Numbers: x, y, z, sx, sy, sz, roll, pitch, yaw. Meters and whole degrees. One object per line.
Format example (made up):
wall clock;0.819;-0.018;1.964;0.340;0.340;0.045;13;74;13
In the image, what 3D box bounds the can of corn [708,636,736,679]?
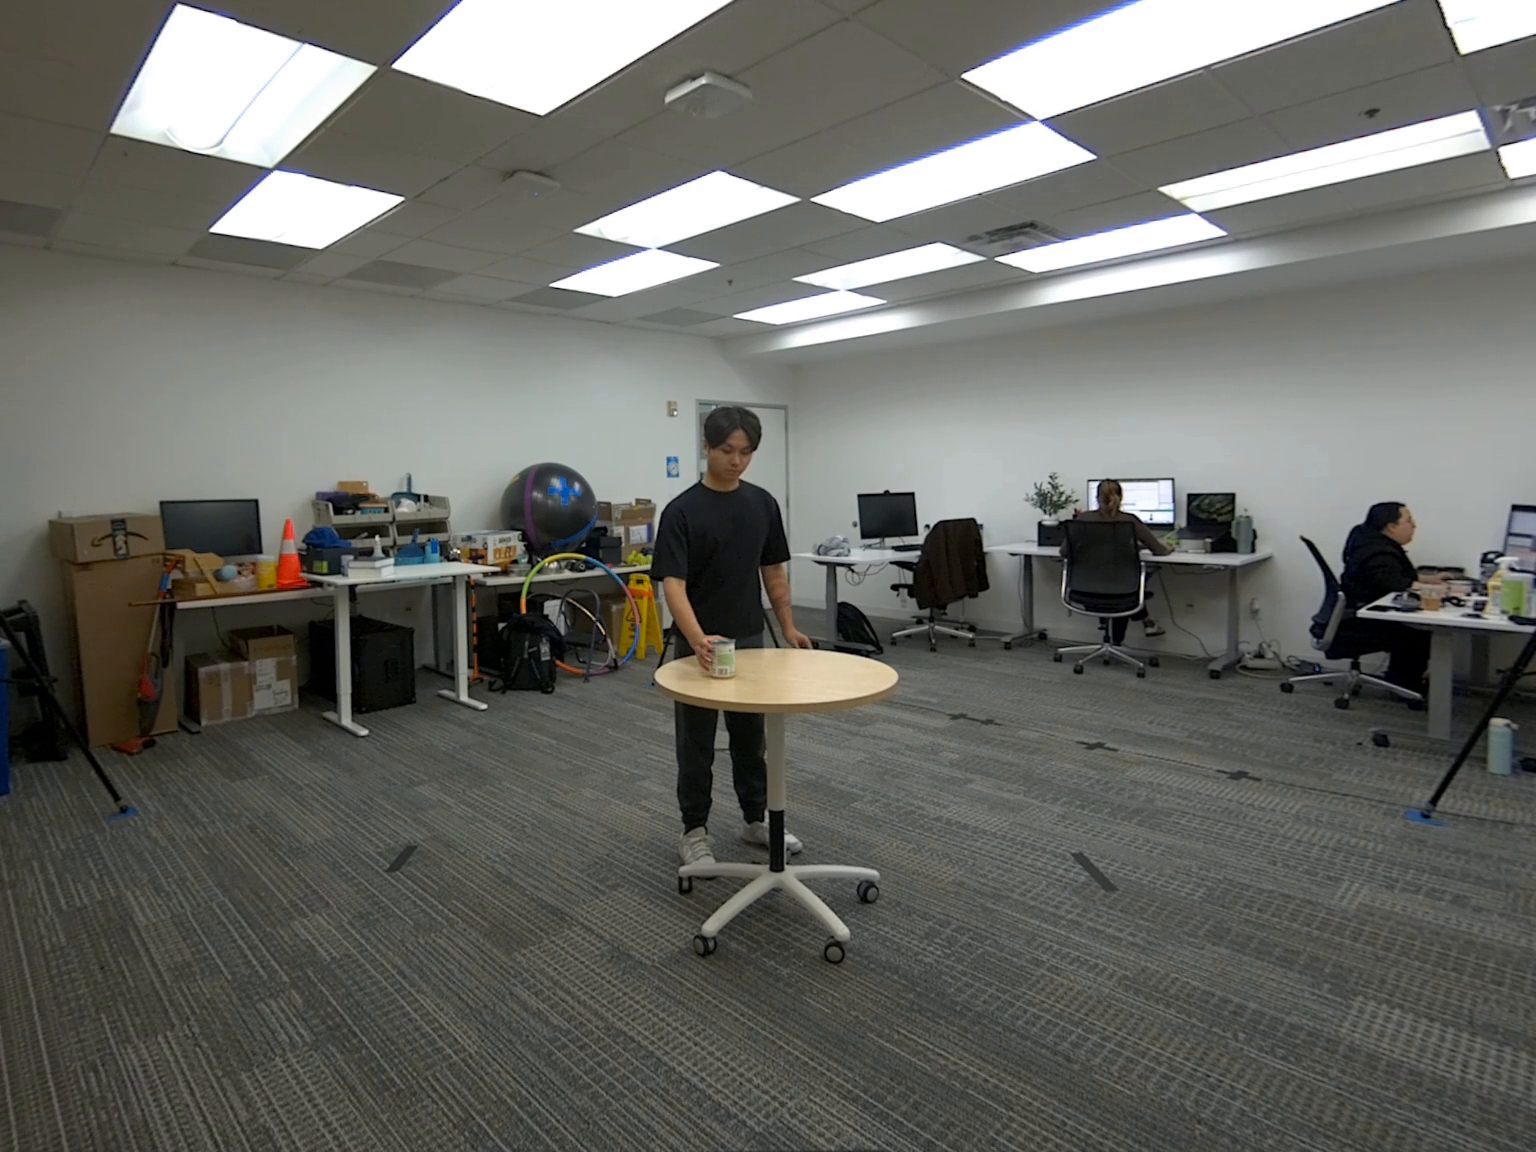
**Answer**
can of corn;-0.142;0.261;2.651;0.074;0.110;0.074;-7;5;-1
